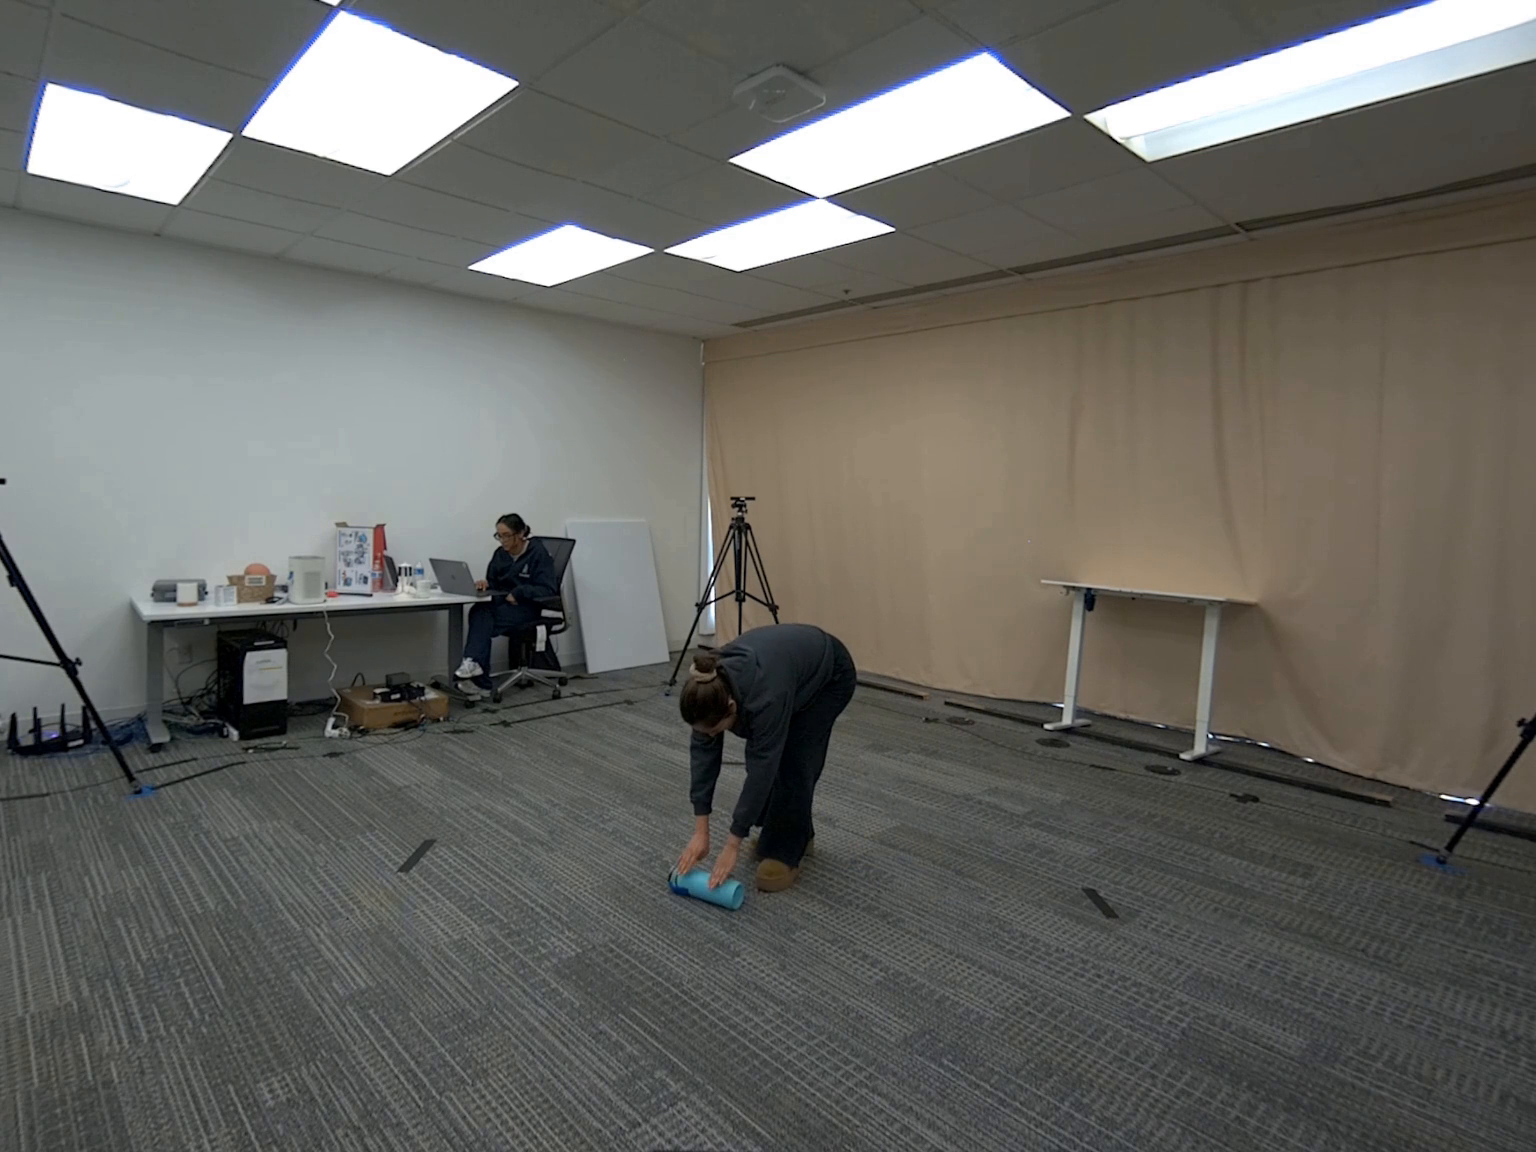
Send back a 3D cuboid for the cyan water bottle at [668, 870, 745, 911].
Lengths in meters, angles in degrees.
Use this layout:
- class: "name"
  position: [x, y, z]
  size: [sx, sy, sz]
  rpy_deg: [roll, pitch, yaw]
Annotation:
- class: "cyan water bottle"
  position: [-0.224, 1.076, 2.933]
  size: [0.290, 0.092, 0.090]
  rpy_deg: [5, 6, 31]
